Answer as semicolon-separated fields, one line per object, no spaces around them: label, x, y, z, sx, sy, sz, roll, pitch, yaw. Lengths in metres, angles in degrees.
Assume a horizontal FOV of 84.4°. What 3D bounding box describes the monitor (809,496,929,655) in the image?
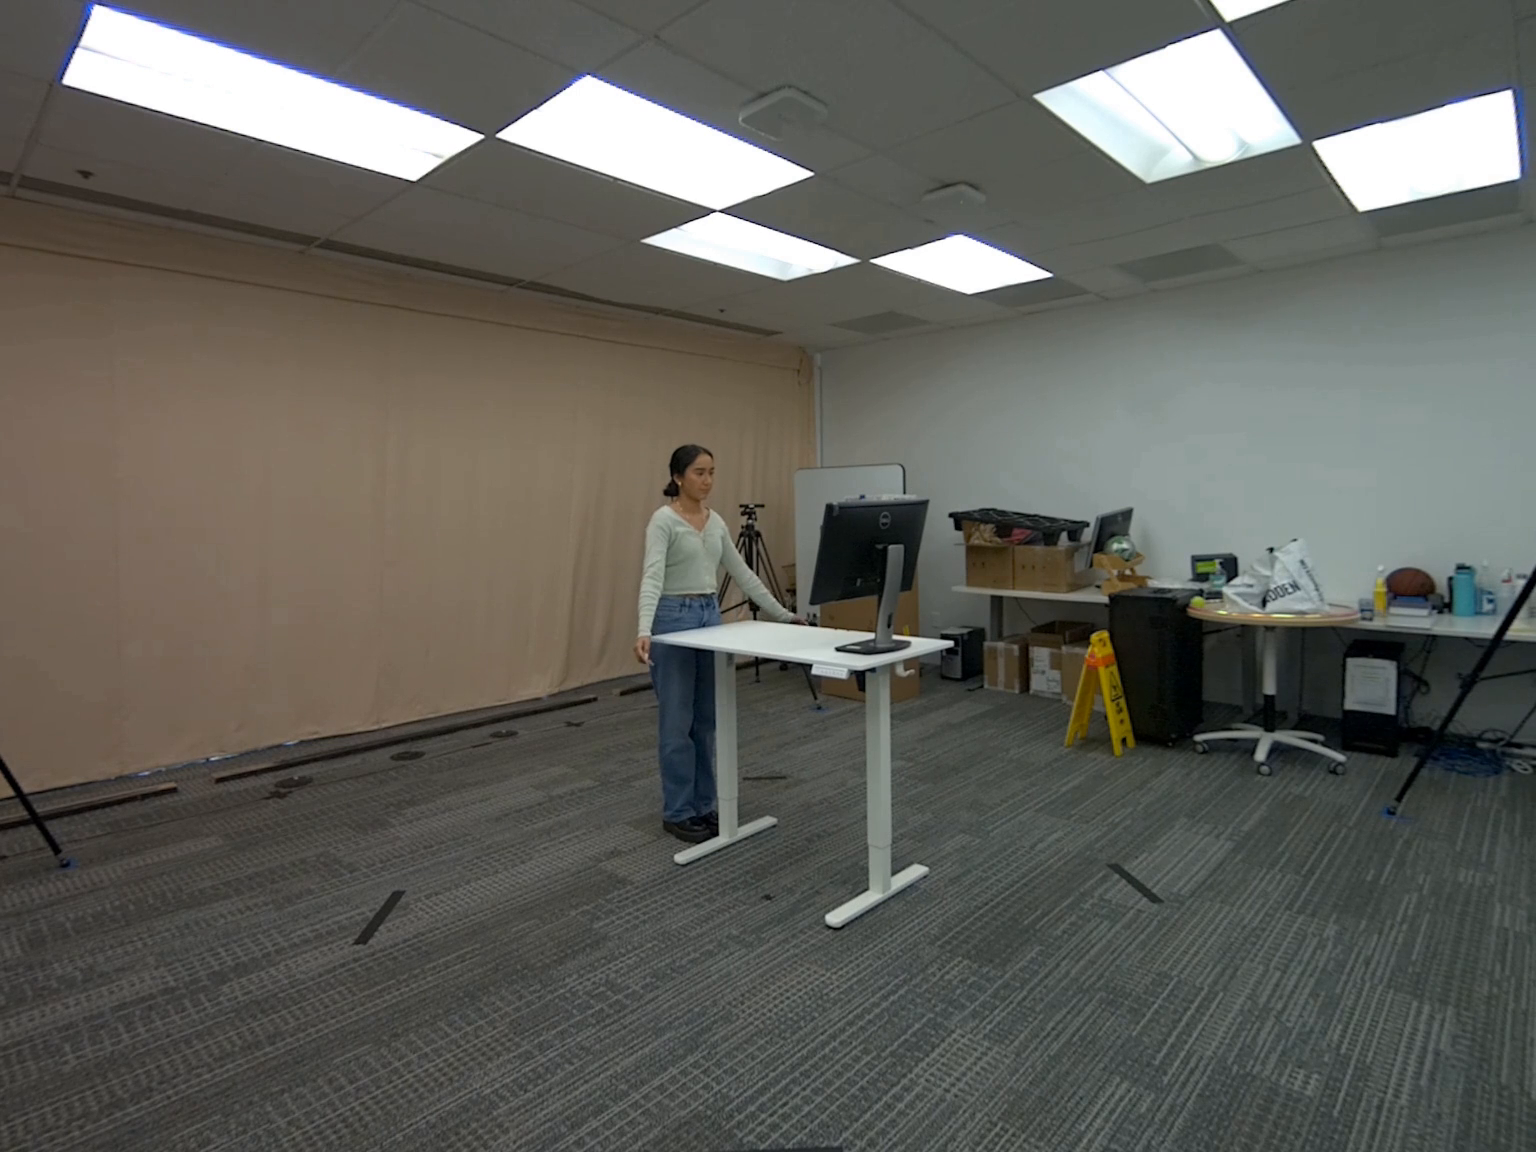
monitor;0.399;0.003;2.919;0.523;0.521;0.193;-6;7;-44
